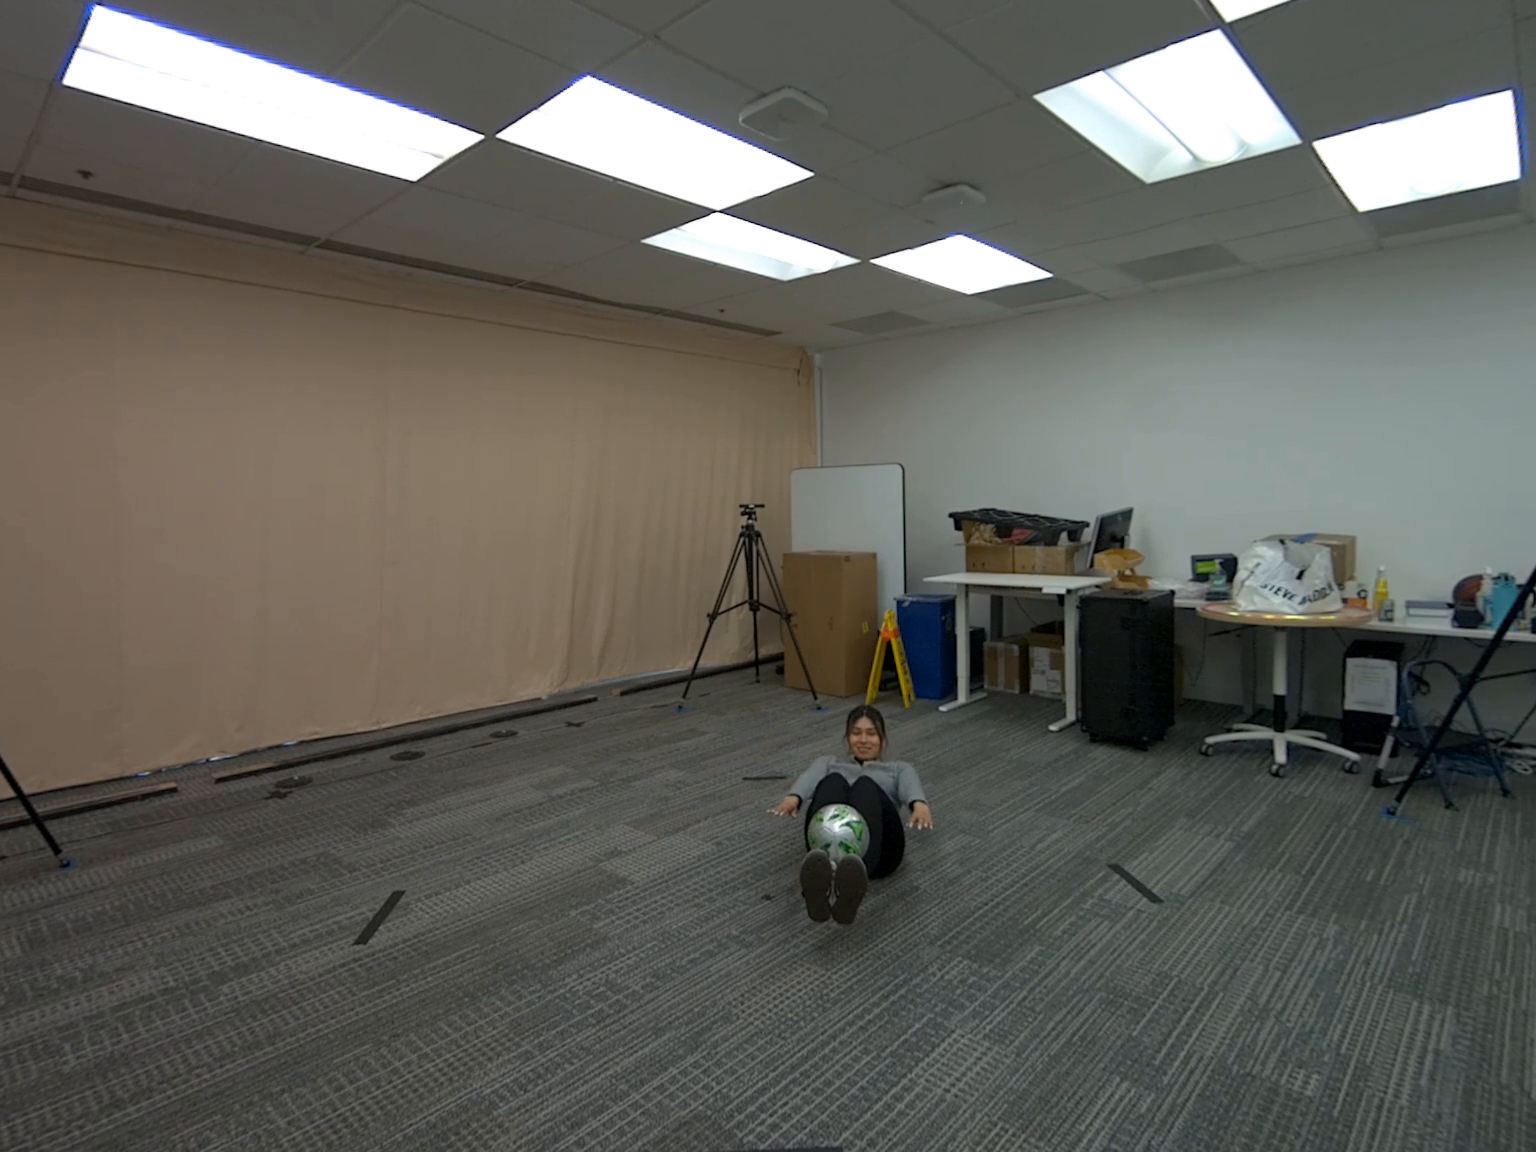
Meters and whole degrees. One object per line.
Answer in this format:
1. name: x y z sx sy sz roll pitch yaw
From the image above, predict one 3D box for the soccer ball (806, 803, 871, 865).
1. soccer ball: 0.220 0.792 2.579 0.187 0.187 0.188 -1 4 -2
